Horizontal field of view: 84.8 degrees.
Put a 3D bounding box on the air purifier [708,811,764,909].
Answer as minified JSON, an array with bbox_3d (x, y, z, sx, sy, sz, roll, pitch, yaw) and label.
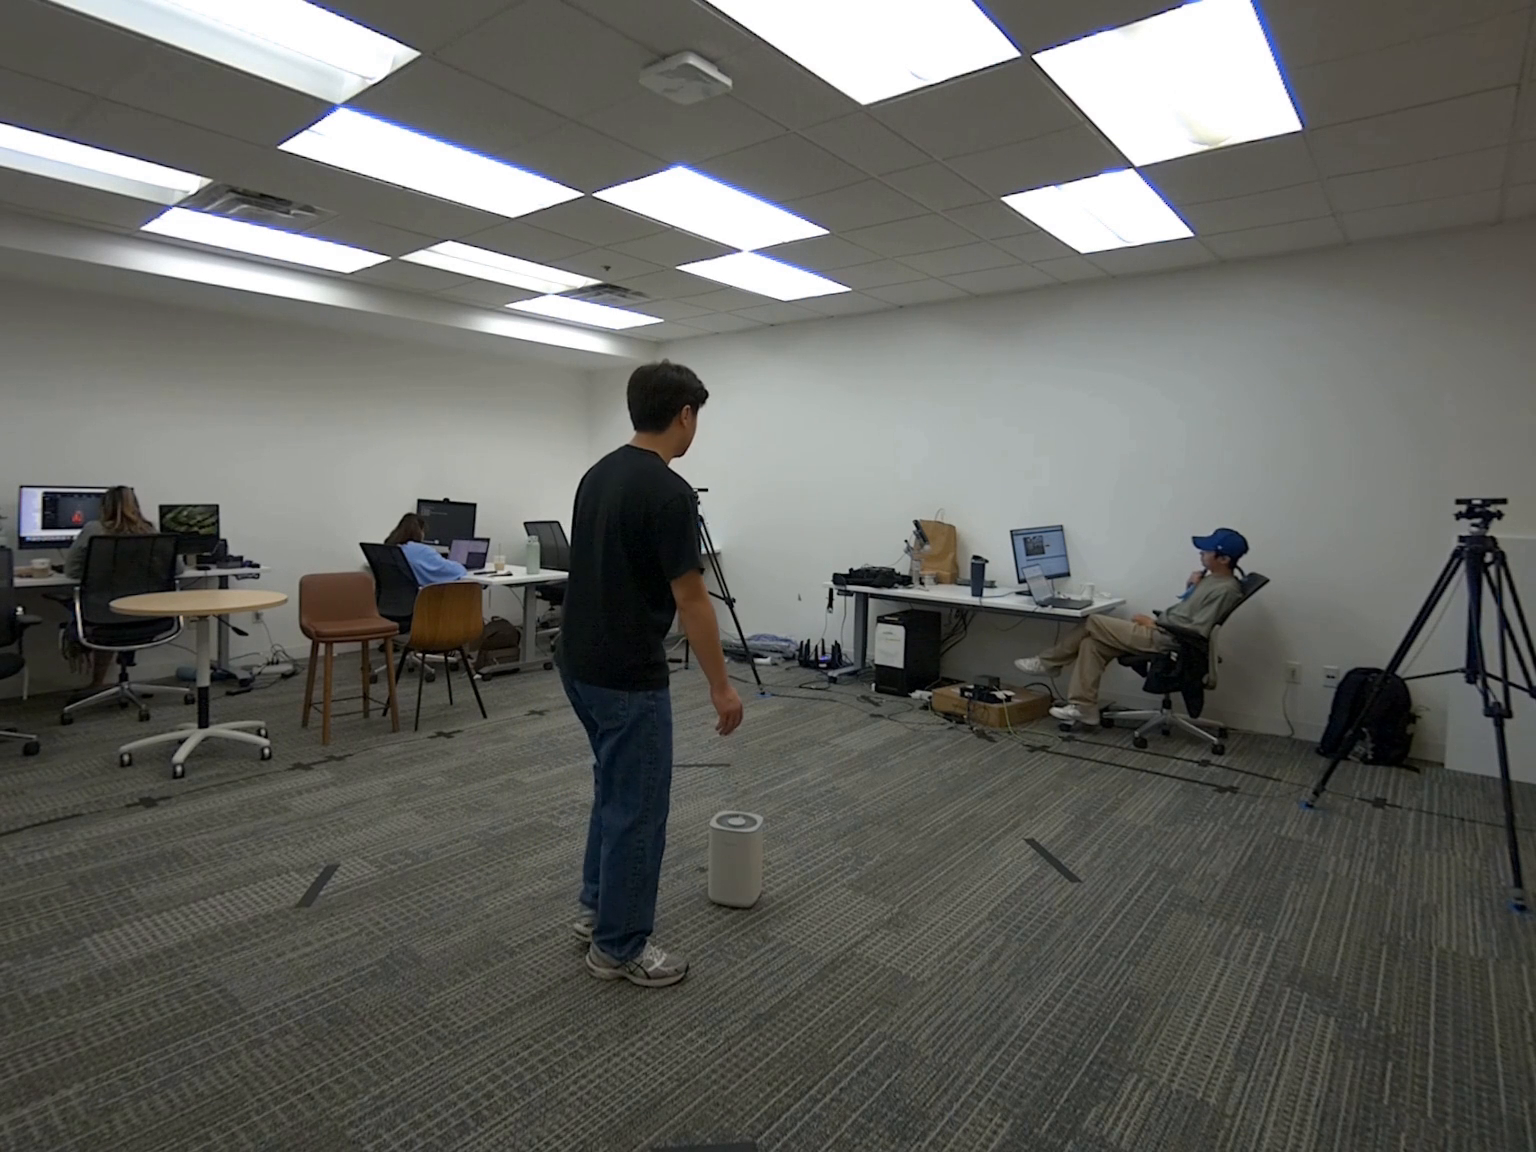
[{"bbox_3d":[-0.117,0.955,2.889,0.174,0.265,0.169,2,3,13],"label":"air purifier"}]
